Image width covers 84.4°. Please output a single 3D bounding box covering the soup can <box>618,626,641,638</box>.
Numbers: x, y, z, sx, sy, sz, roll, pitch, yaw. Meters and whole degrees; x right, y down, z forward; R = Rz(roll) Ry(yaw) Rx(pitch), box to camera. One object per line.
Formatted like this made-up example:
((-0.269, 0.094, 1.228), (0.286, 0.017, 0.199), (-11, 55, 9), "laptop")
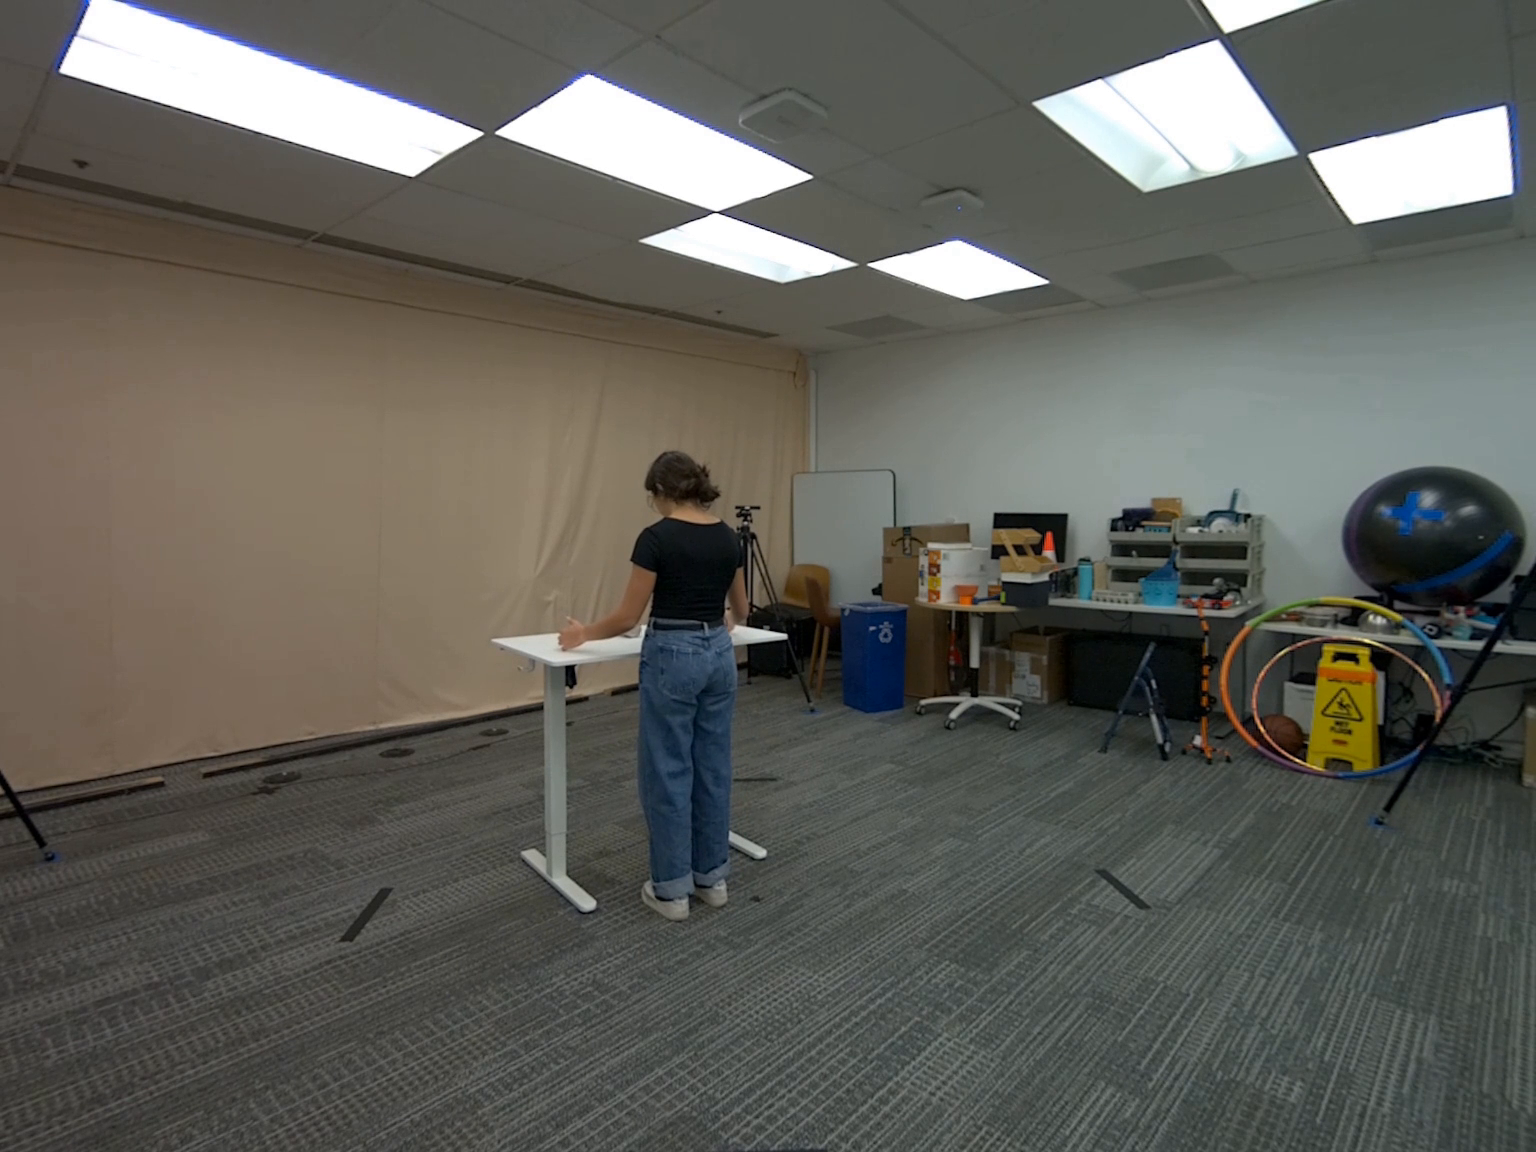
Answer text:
((-0.554, 0.204, 3.328), (0.065, 0.067, 0.125), (-2, 7, -33), "soup can")
